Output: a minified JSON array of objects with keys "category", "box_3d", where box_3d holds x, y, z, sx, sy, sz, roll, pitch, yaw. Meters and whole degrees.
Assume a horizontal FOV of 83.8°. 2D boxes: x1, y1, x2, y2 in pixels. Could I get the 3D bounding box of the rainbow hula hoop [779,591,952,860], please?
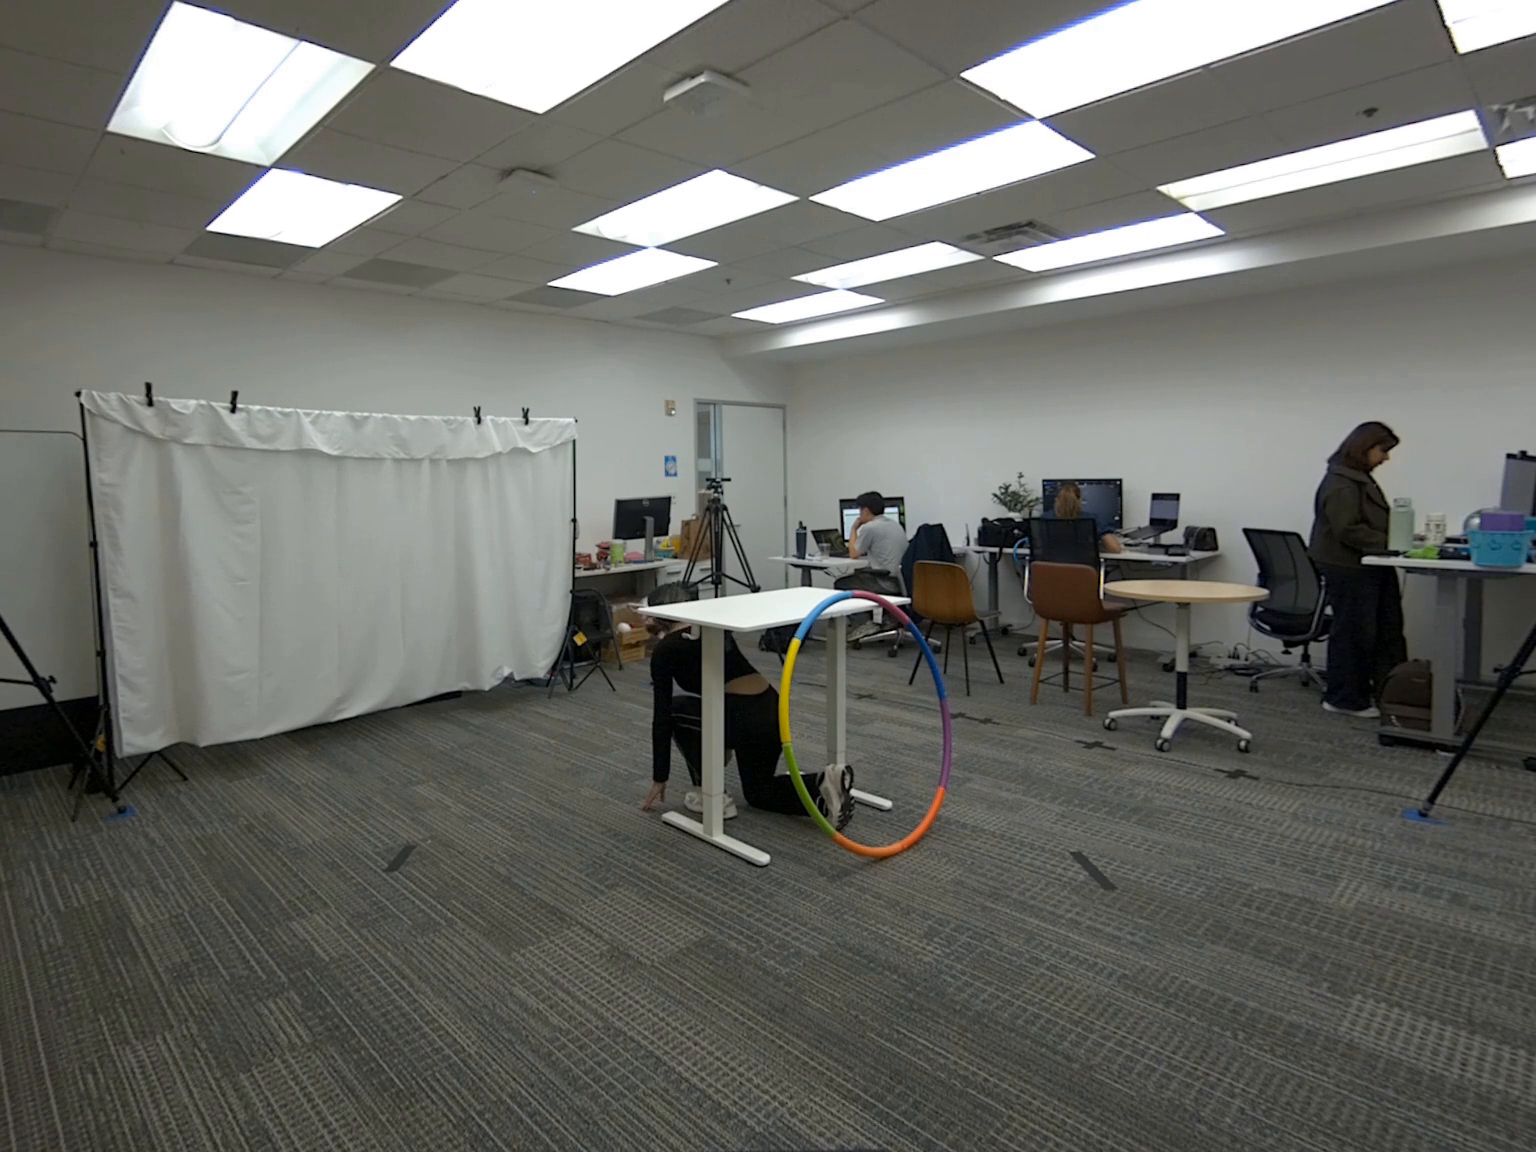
[{"category":"rainbow hula hoop","box_3d":[0.399,0.545,3.243,0.953,0.987,0.036,-6,-10,-45]}]
